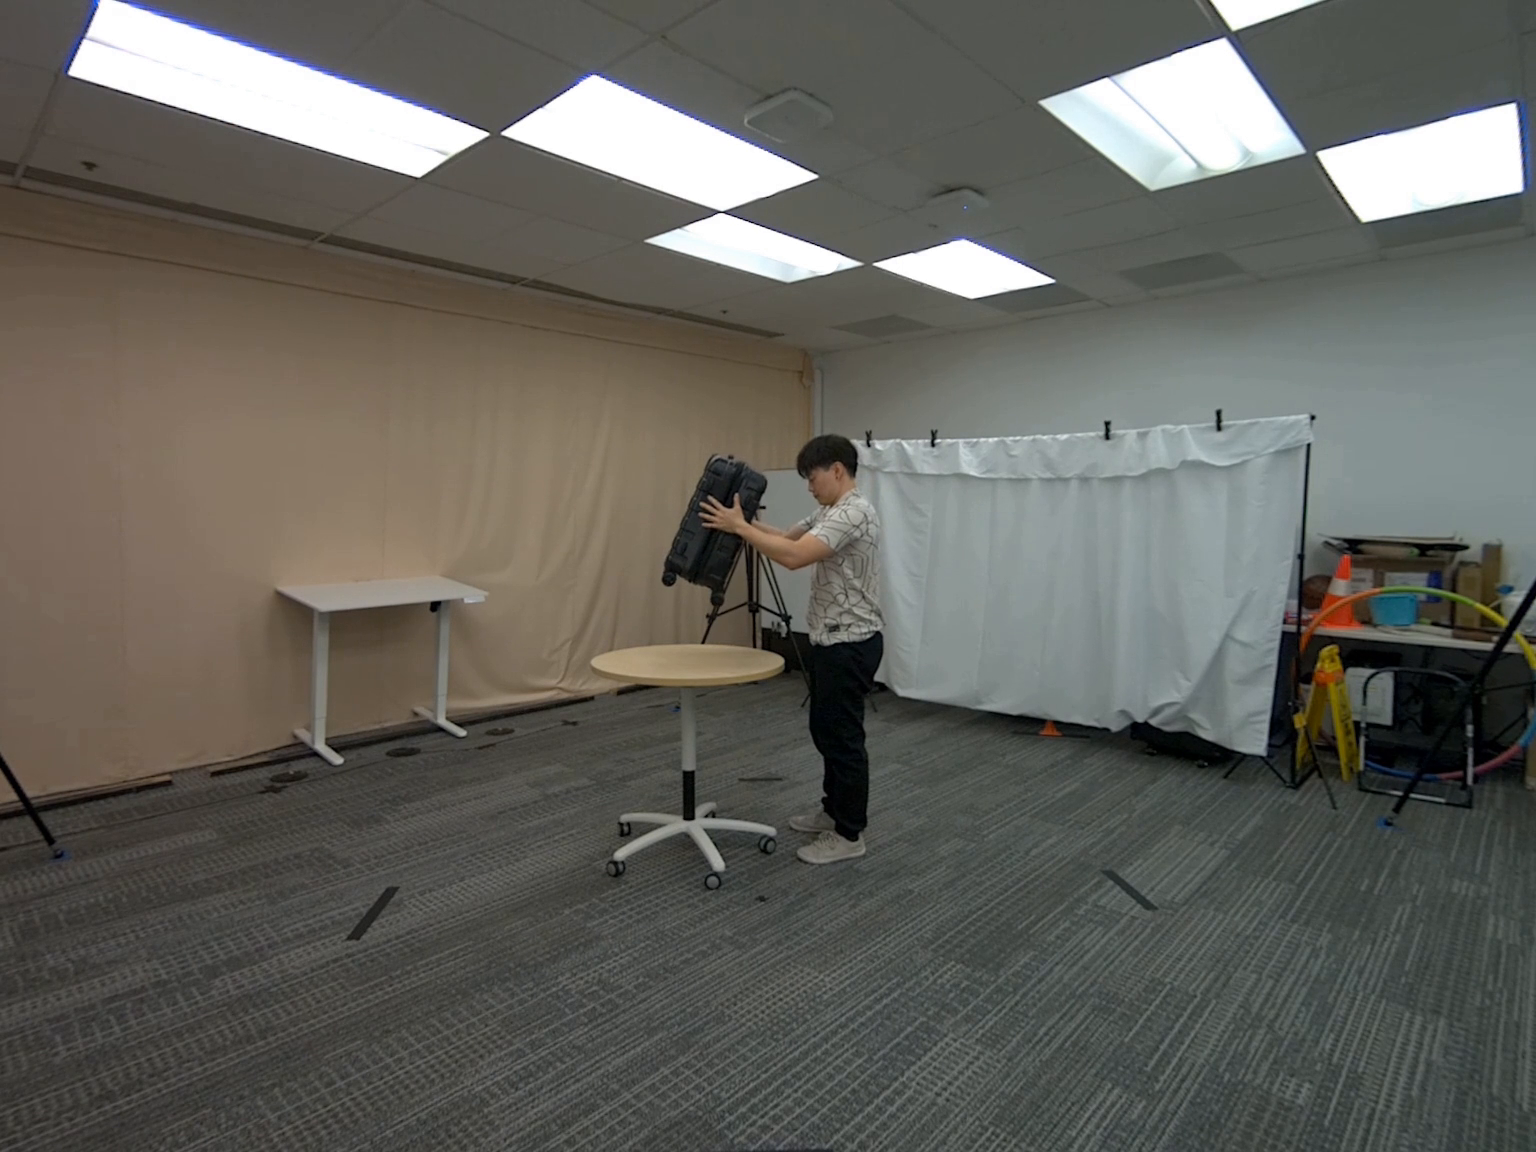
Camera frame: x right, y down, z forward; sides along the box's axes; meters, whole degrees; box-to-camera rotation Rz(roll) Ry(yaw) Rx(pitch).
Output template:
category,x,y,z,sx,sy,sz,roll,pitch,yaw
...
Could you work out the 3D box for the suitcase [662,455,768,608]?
category,x,y,z,sx,sy,sz,roll,pitch,yaw
suitcase,-0.203,-0.203,3.344,0.247,0.549,0.377,23,5,-5
